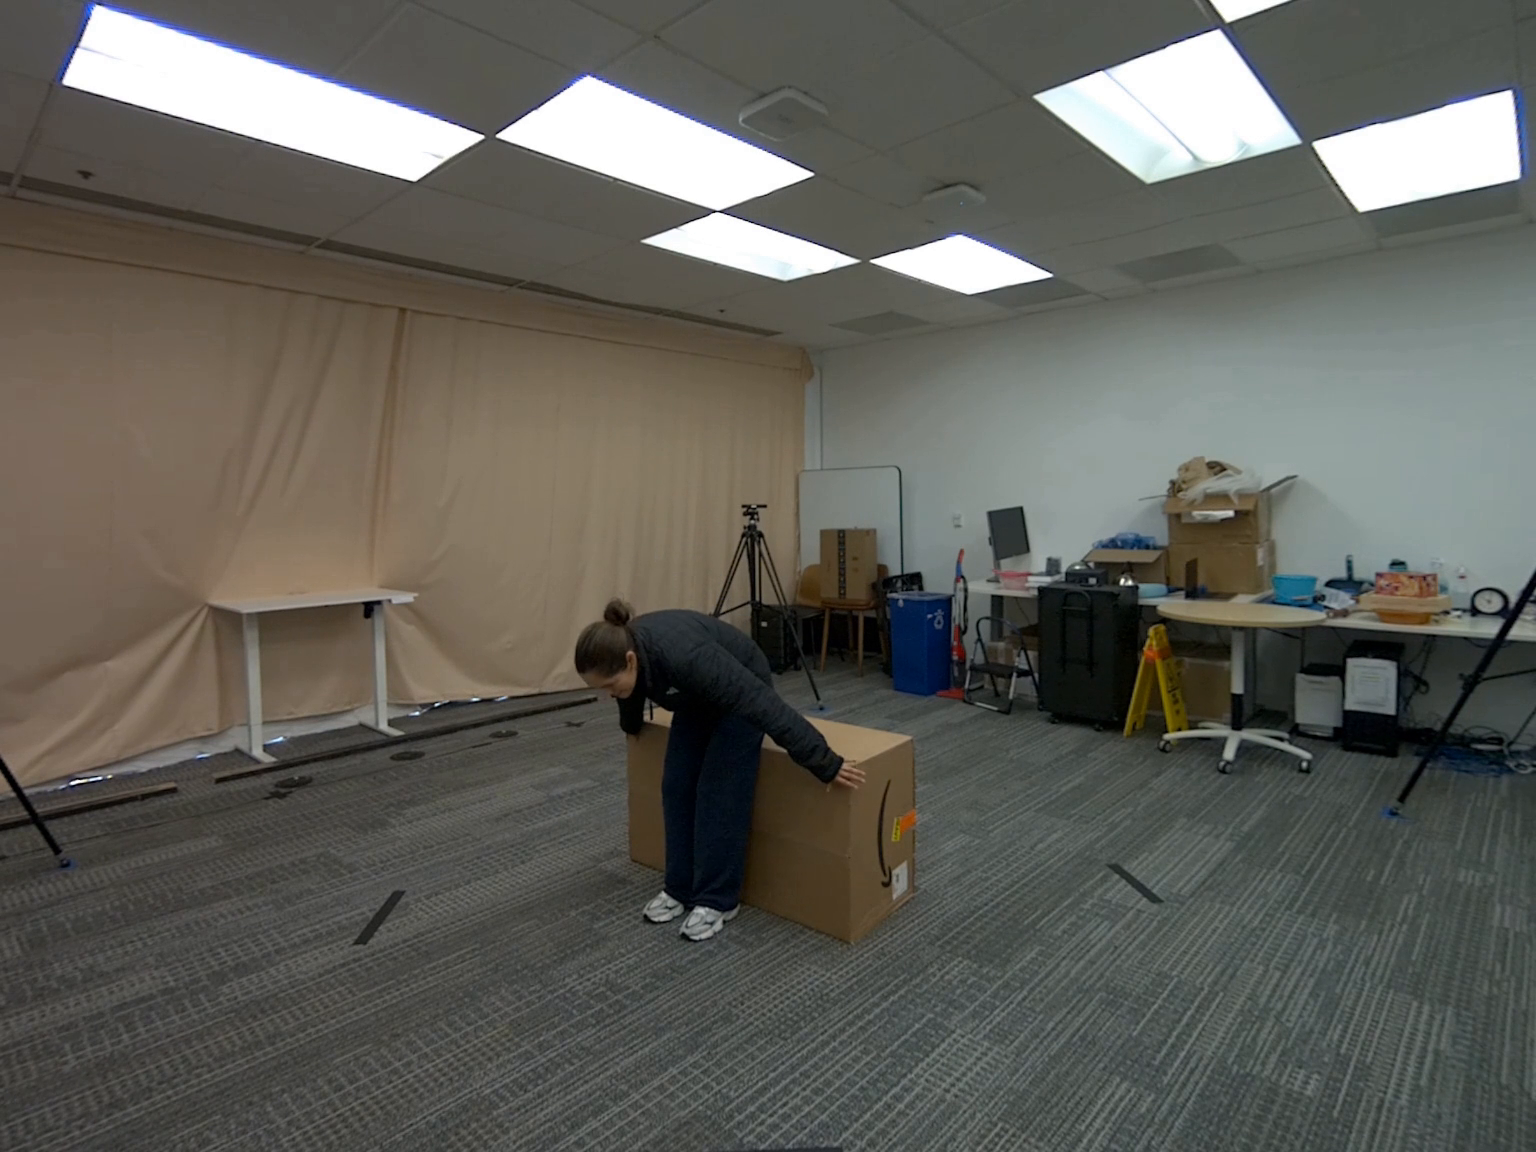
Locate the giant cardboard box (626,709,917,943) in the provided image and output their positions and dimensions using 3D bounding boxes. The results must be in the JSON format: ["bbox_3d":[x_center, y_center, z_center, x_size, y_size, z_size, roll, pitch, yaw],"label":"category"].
[{"bbox_3d":[-0.002,0.841,3.137,1.059,0.576,0.414,3,6,39],"label":"giant cardboard box"}]
